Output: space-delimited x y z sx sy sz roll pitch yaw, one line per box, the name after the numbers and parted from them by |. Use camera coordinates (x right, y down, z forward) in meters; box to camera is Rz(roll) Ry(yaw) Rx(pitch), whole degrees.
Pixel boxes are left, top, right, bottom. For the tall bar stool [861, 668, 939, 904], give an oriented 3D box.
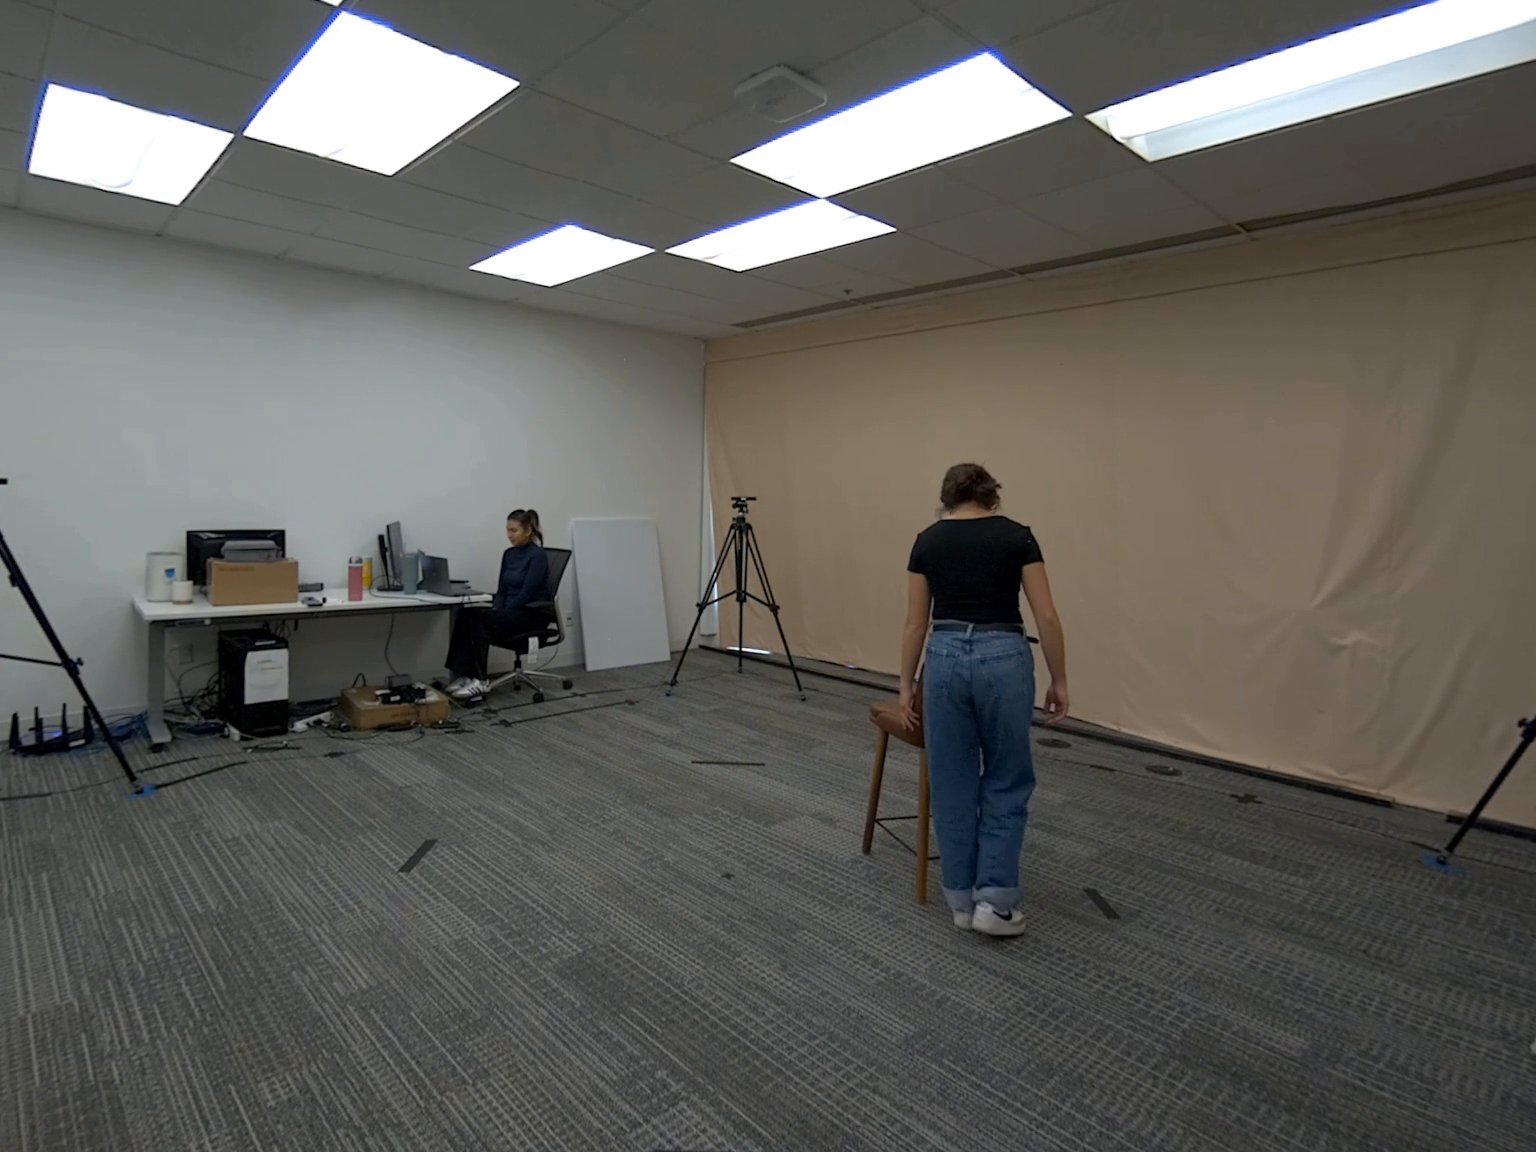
0.644 0.684 3.159 0.451 0.886 0.475 1 5 -17 | tall bar stool
